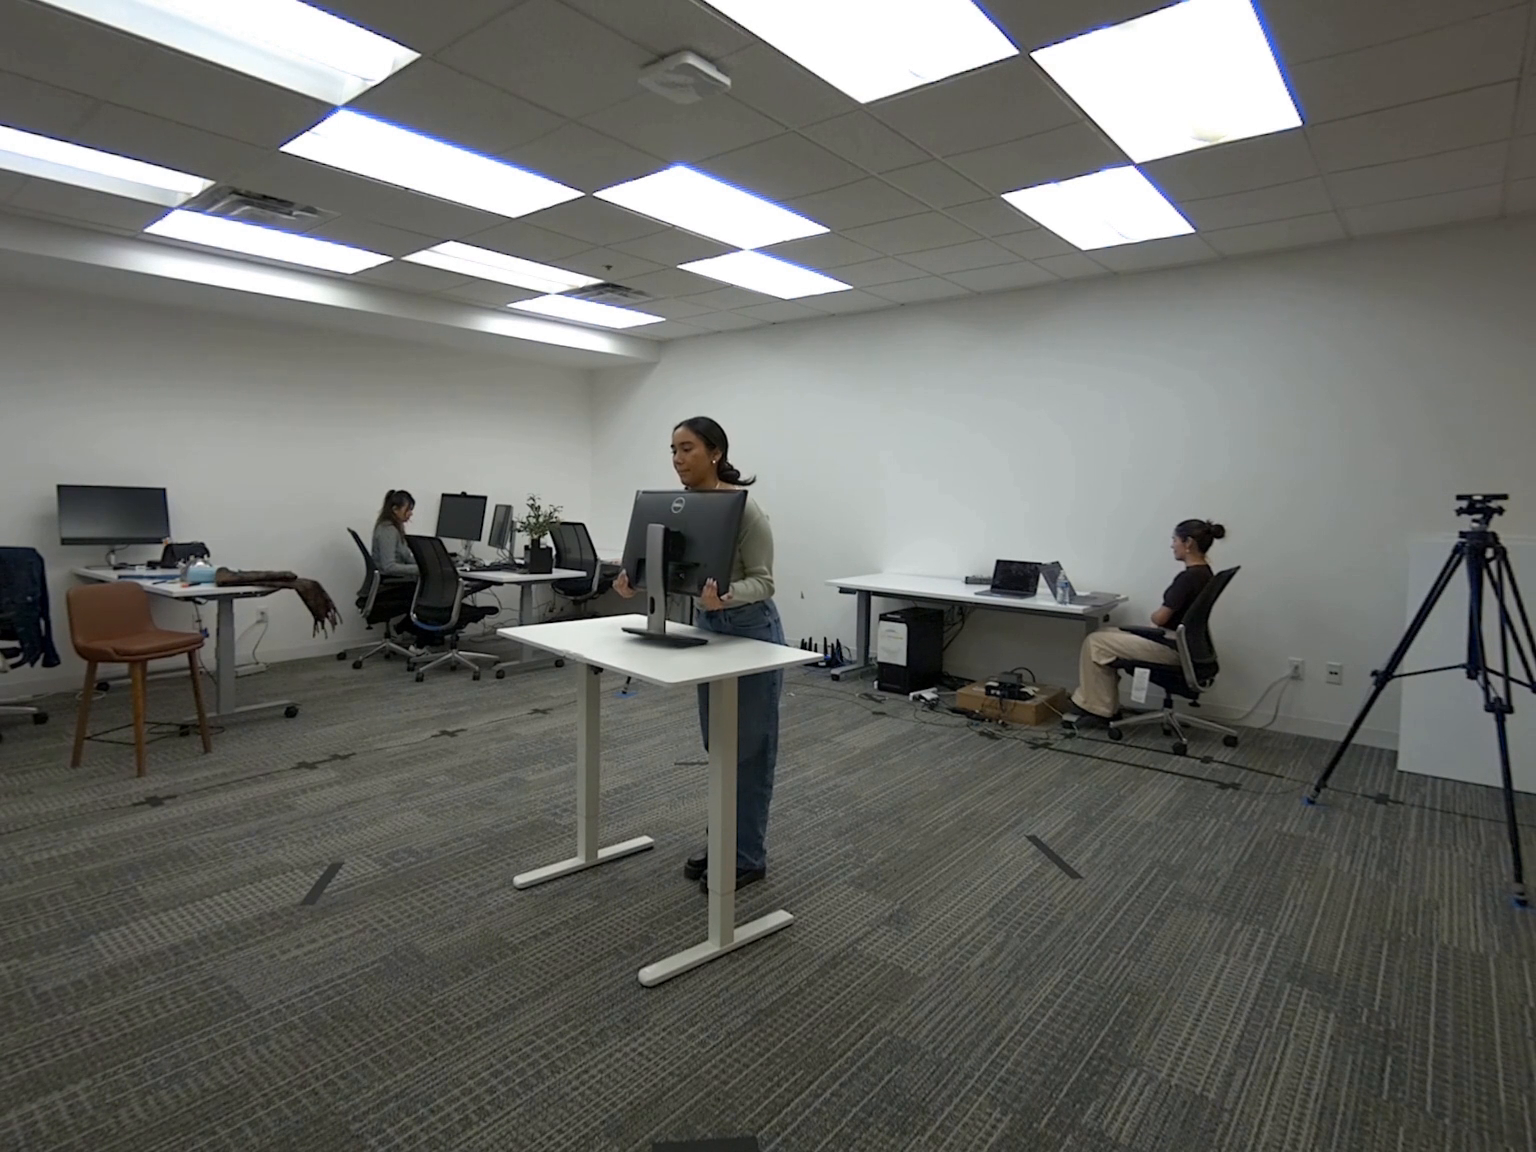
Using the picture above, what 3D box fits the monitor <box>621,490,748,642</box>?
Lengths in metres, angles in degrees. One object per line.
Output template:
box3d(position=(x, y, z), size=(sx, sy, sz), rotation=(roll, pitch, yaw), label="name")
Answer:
box3d(position=(-0.323, -0.041, 2.809), size=(0.557, 0.526, 0.179), rotation=(4, -14, 42), label="monitor")
